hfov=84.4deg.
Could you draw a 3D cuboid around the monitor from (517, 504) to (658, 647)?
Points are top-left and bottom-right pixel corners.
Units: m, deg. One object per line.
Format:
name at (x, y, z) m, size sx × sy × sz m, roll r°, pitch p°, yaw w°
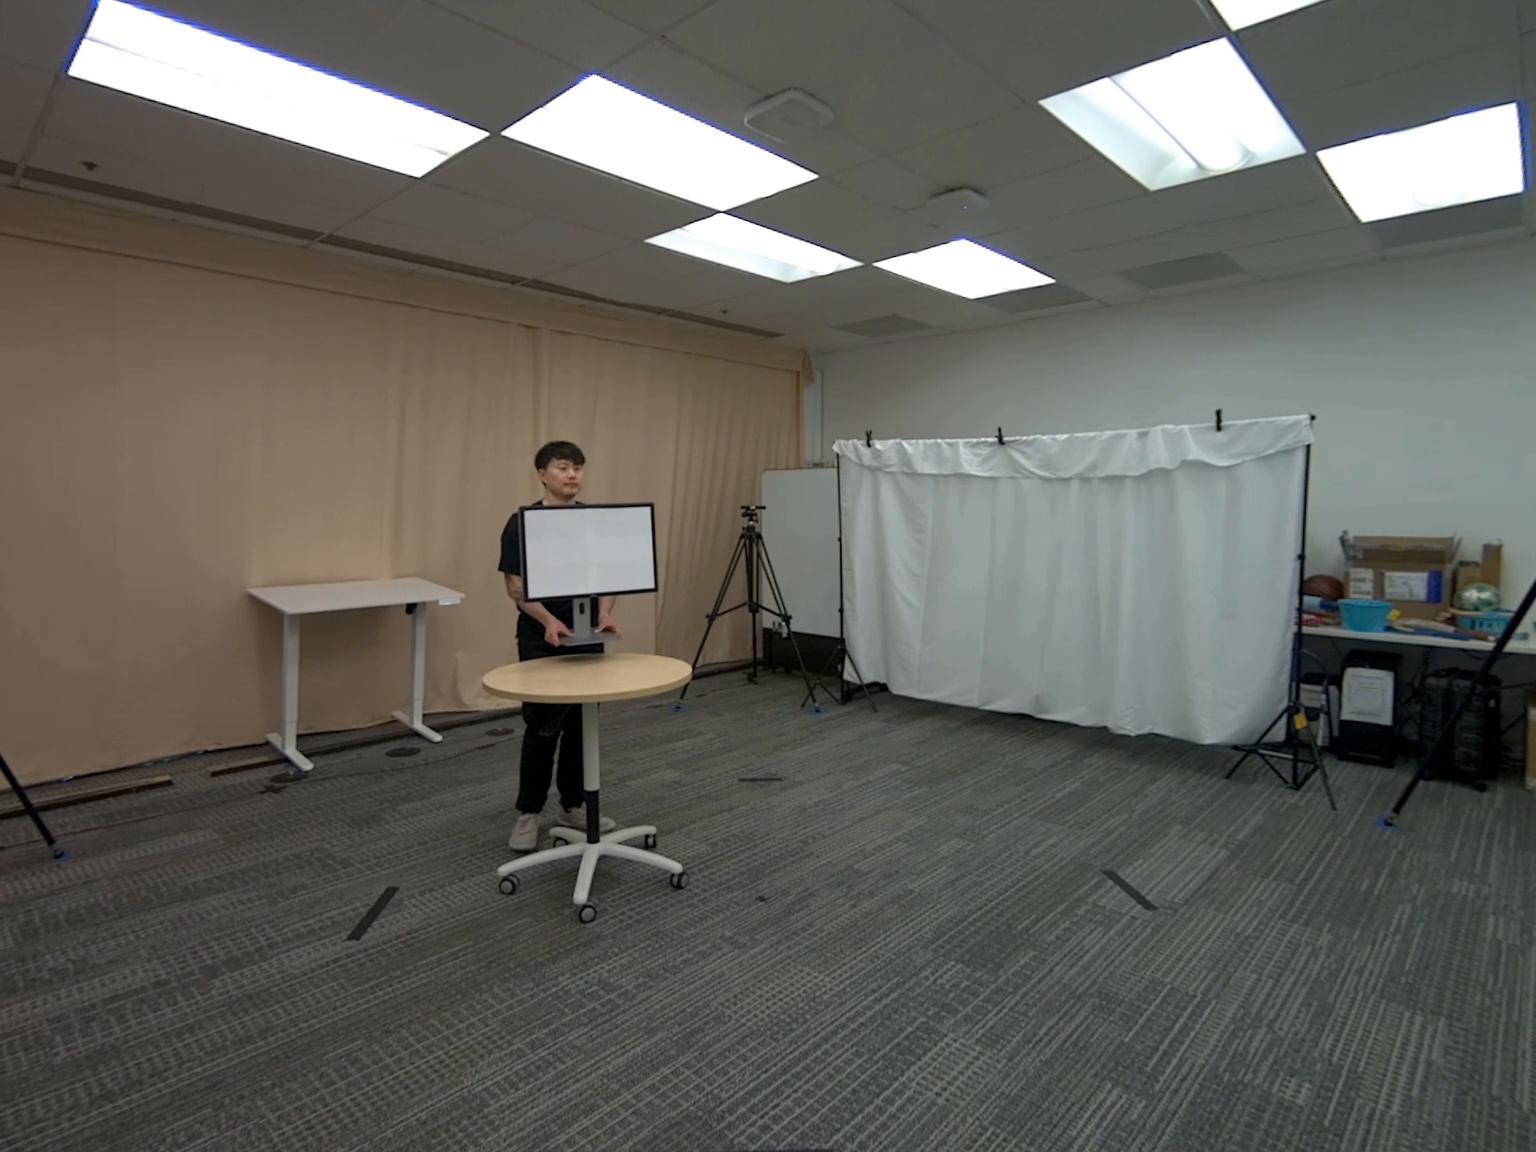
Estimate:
monitor at (-0.719, -0.018, 3.322) m, size 0.524 × 0.519 × 0.193 m, roll -3°, pitch 14°, yaw -34°
